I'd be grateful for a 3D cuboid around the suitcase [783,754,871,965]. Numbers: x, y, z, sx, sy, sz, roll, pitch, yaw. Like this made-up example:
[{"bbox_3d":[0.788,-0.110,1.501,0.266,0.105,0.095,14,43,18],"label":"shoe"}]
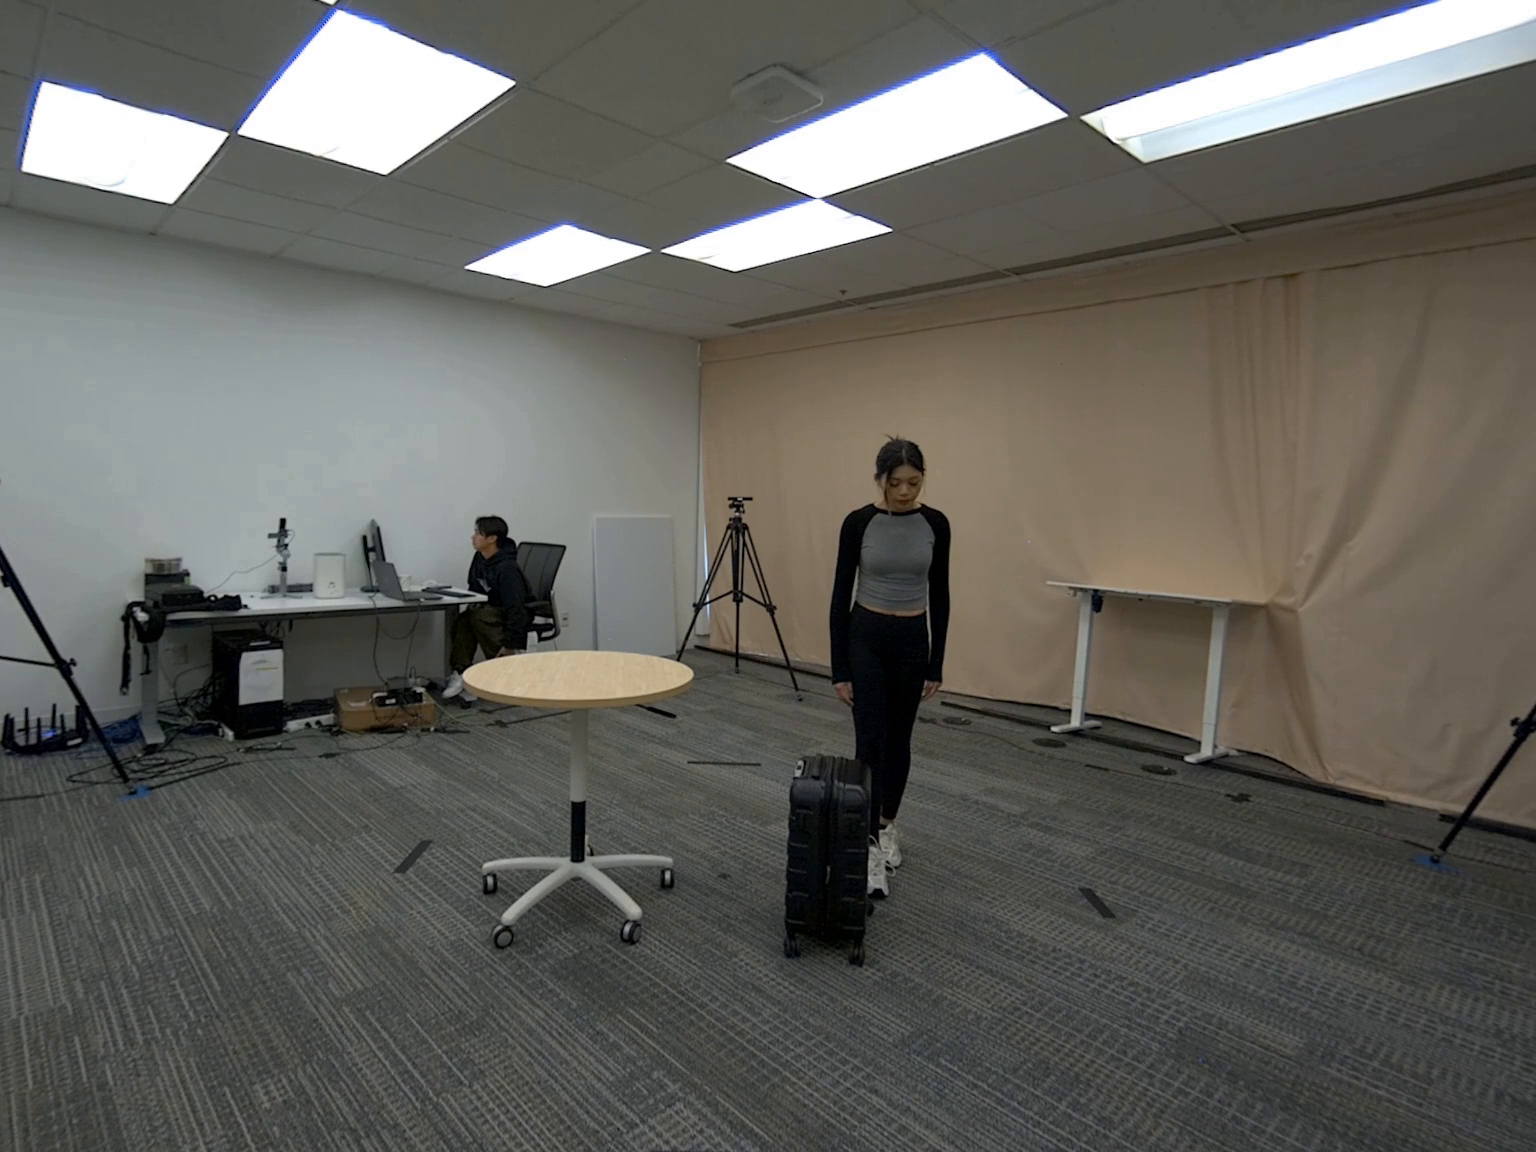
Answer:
[{"bbox_3d":[0.199,0.885,2.697,0.250,0.548,0.374,3,3,7],"label":"suitcase"}]
